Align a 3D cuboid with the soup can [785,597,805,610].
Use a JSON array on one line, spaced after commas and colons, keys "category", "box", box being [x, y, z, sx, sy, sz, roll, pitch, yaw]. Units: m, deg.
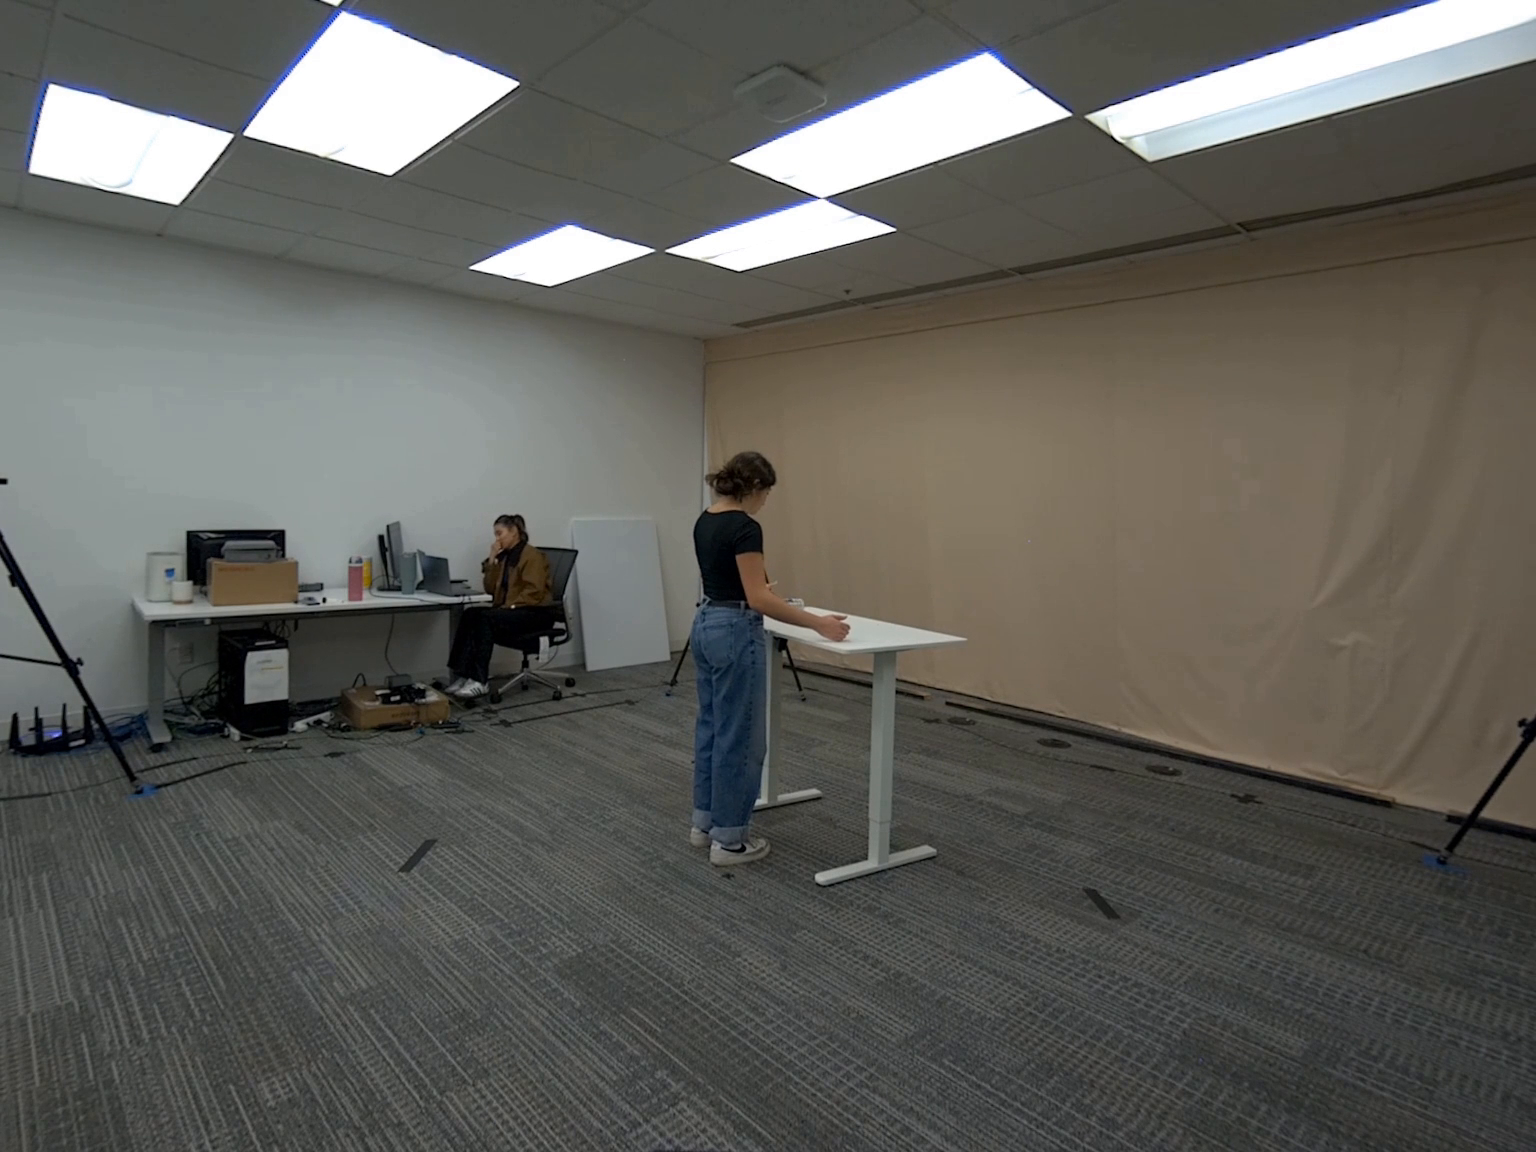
[{"category": "soup can", "box": [0.089, 0.139, 3.782, 0.120, 0.067, 0.068, -2, 5, -19]}]
